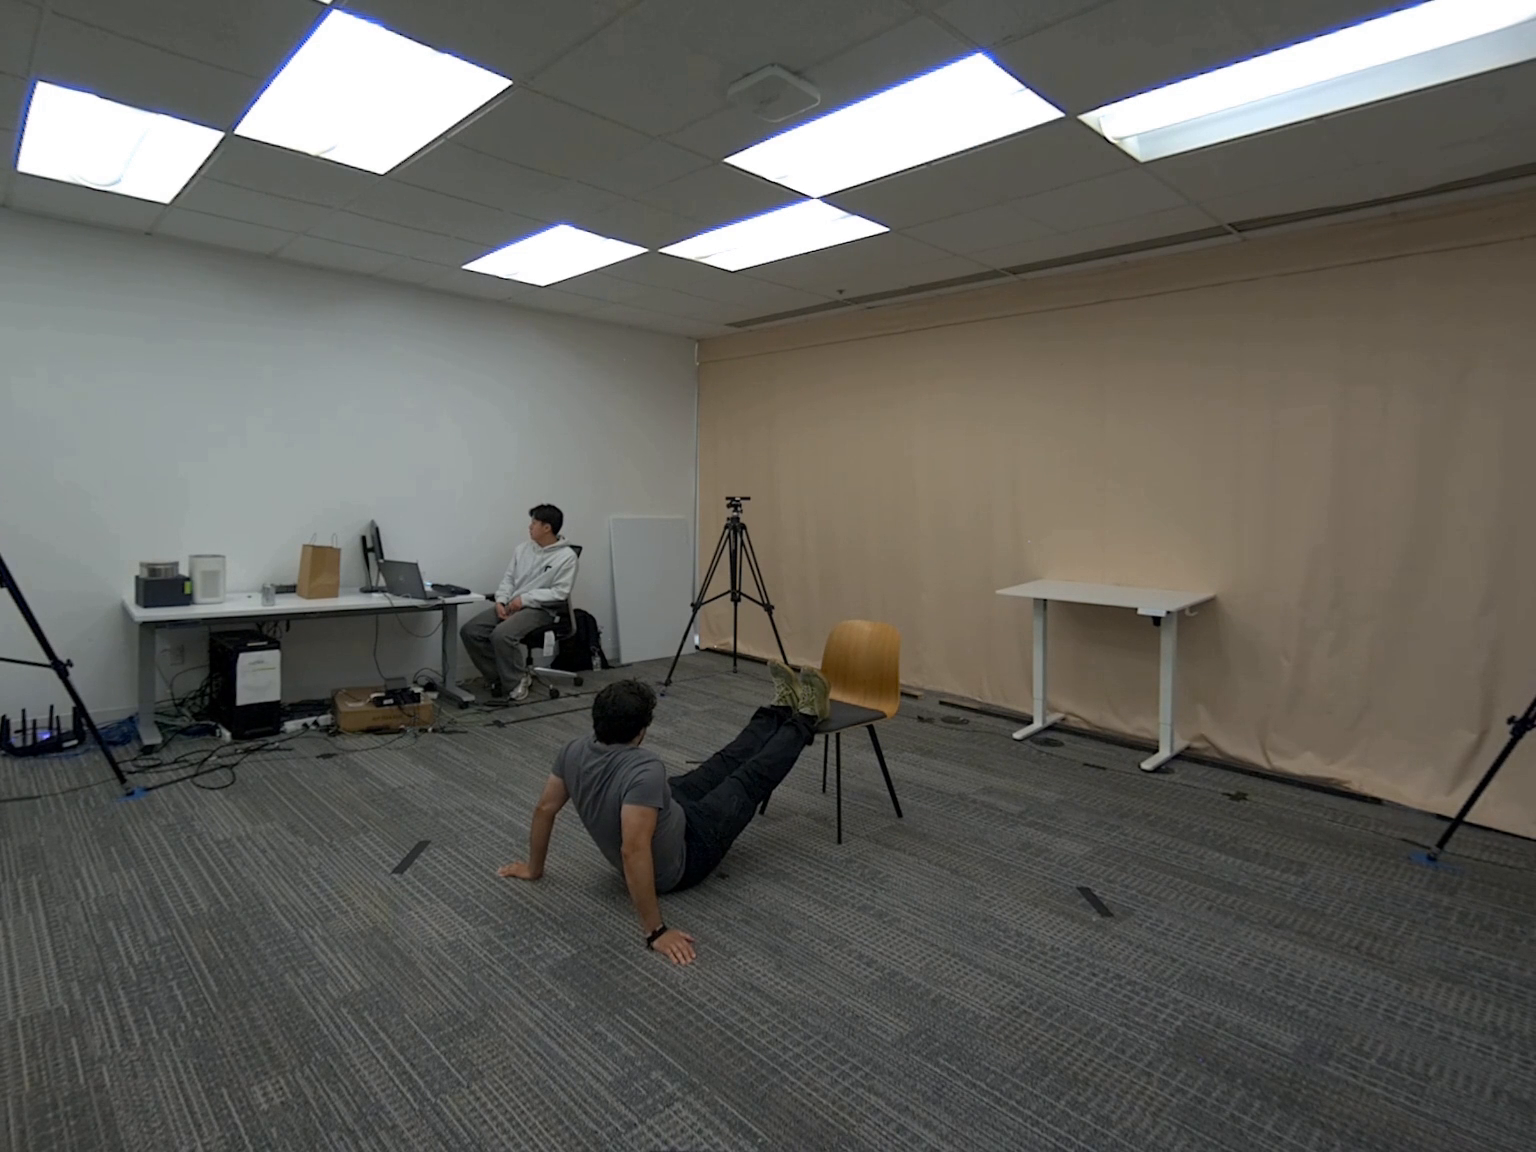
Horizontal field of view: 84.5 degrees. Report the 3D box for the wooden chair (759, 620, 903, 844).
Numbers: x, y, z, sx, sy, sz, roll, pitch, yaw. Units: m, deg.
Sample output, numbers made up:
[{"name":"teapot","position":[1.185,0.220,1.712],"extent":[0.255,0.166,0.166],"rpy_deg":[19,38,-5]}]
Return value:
[{"name":"wooden chair","position":[0.275,0.640,3.701],"extent":[0.490,0.877,0.510],"rpy_deg":[4,0,44]}]
